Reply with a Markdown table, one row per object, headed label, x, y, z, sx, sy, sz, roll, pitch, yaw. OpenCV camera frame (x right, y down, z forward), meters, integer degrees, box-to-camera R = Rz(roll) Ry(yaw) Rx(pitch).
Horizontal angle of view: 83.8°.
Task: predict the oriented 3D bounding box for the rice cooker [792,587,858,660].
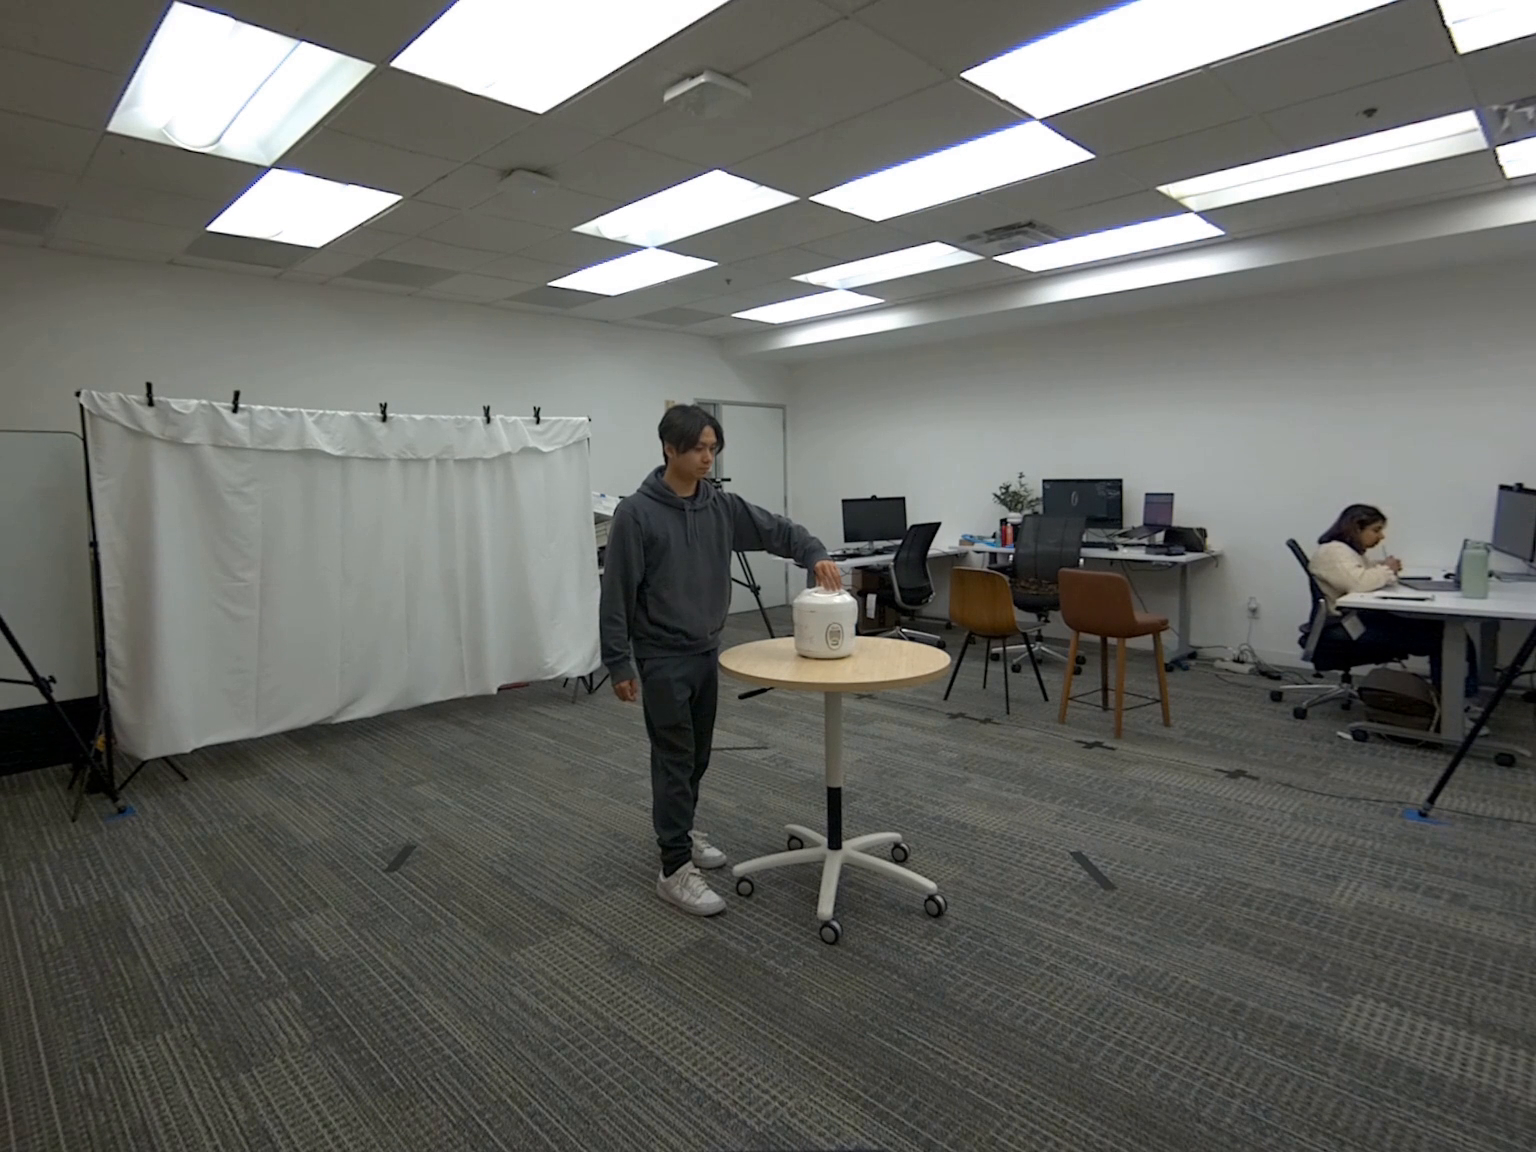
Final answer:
| label | x | y | z | sx | sy | sz | roll | pitch | yaw |
| --- | --- | --- | --- | --- | --- | --- | --- | --- | --- |
| rice cooker | 0.191 | 0.148 | 2.875 | 0.218 | 0.232 | 0.221 | -3 | 4 | -13 |
